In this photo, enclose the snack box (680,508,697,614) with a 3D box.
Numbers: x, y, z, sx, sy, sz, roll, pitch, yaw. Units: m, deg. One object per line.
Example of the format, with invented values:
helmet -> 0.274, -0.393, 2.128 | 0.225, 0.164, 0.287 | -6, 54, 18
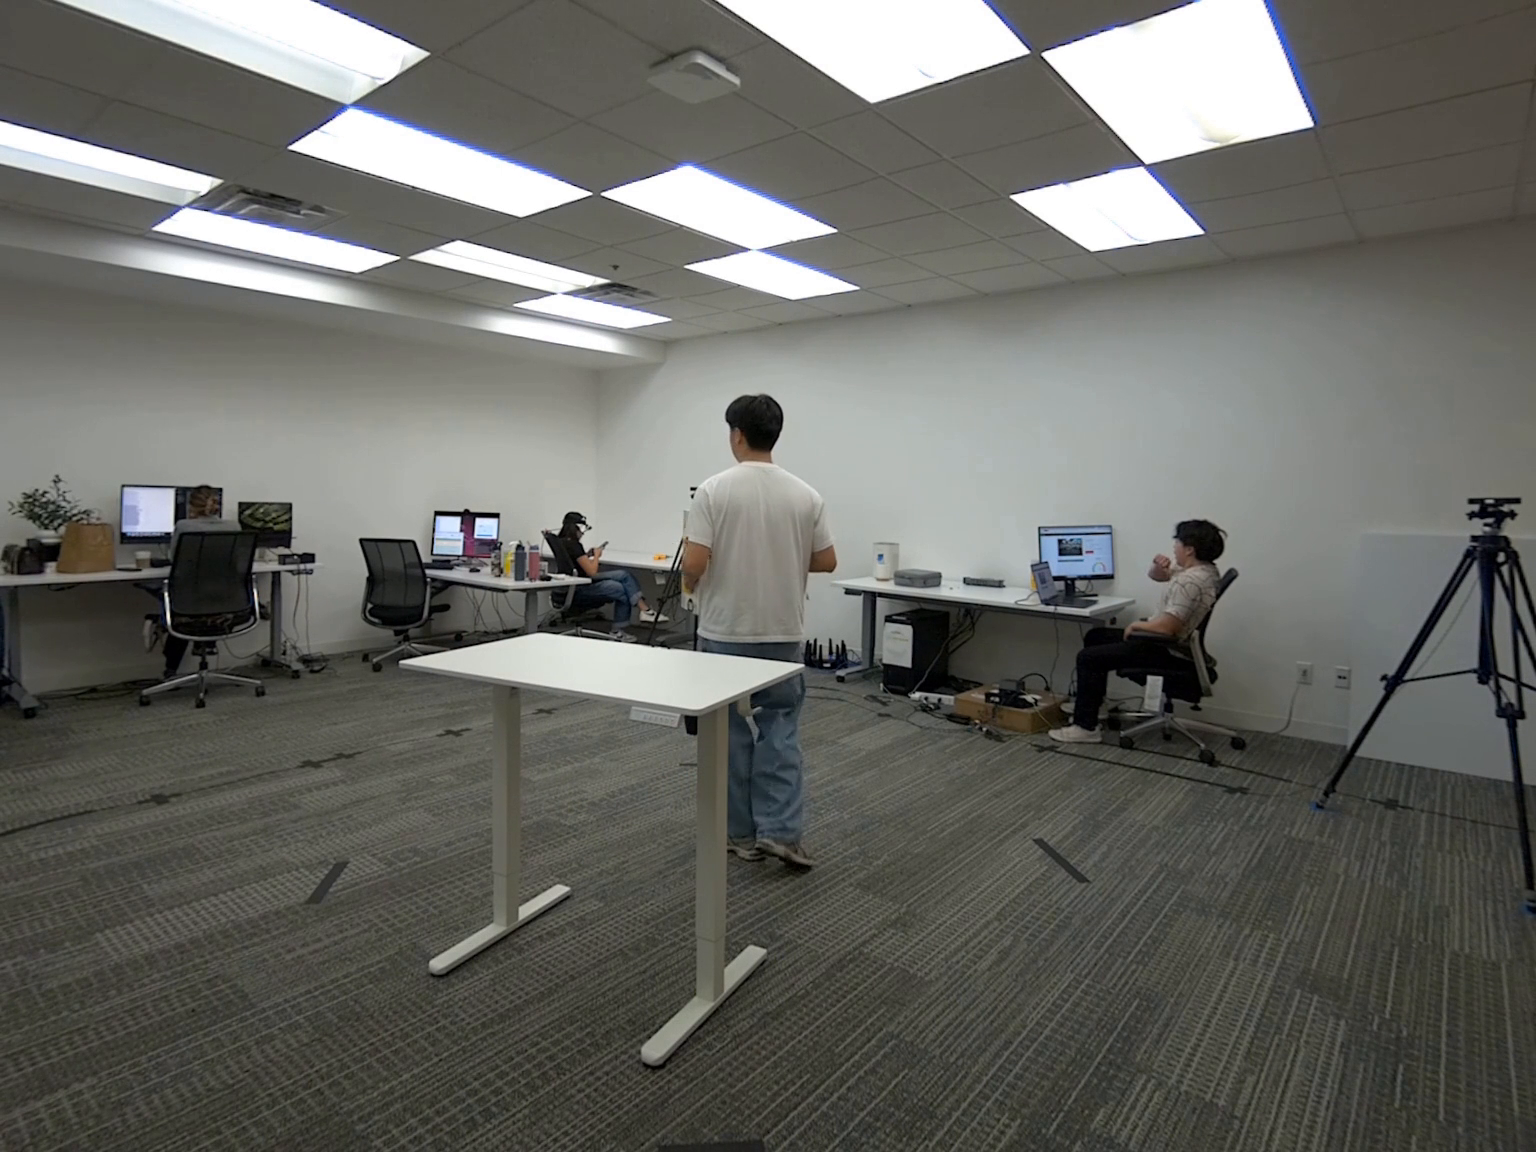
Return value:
snack box -> -0.160, -0.067, 3.472 | 0.332, 0.402, 0.212 | -2, 8, -25
